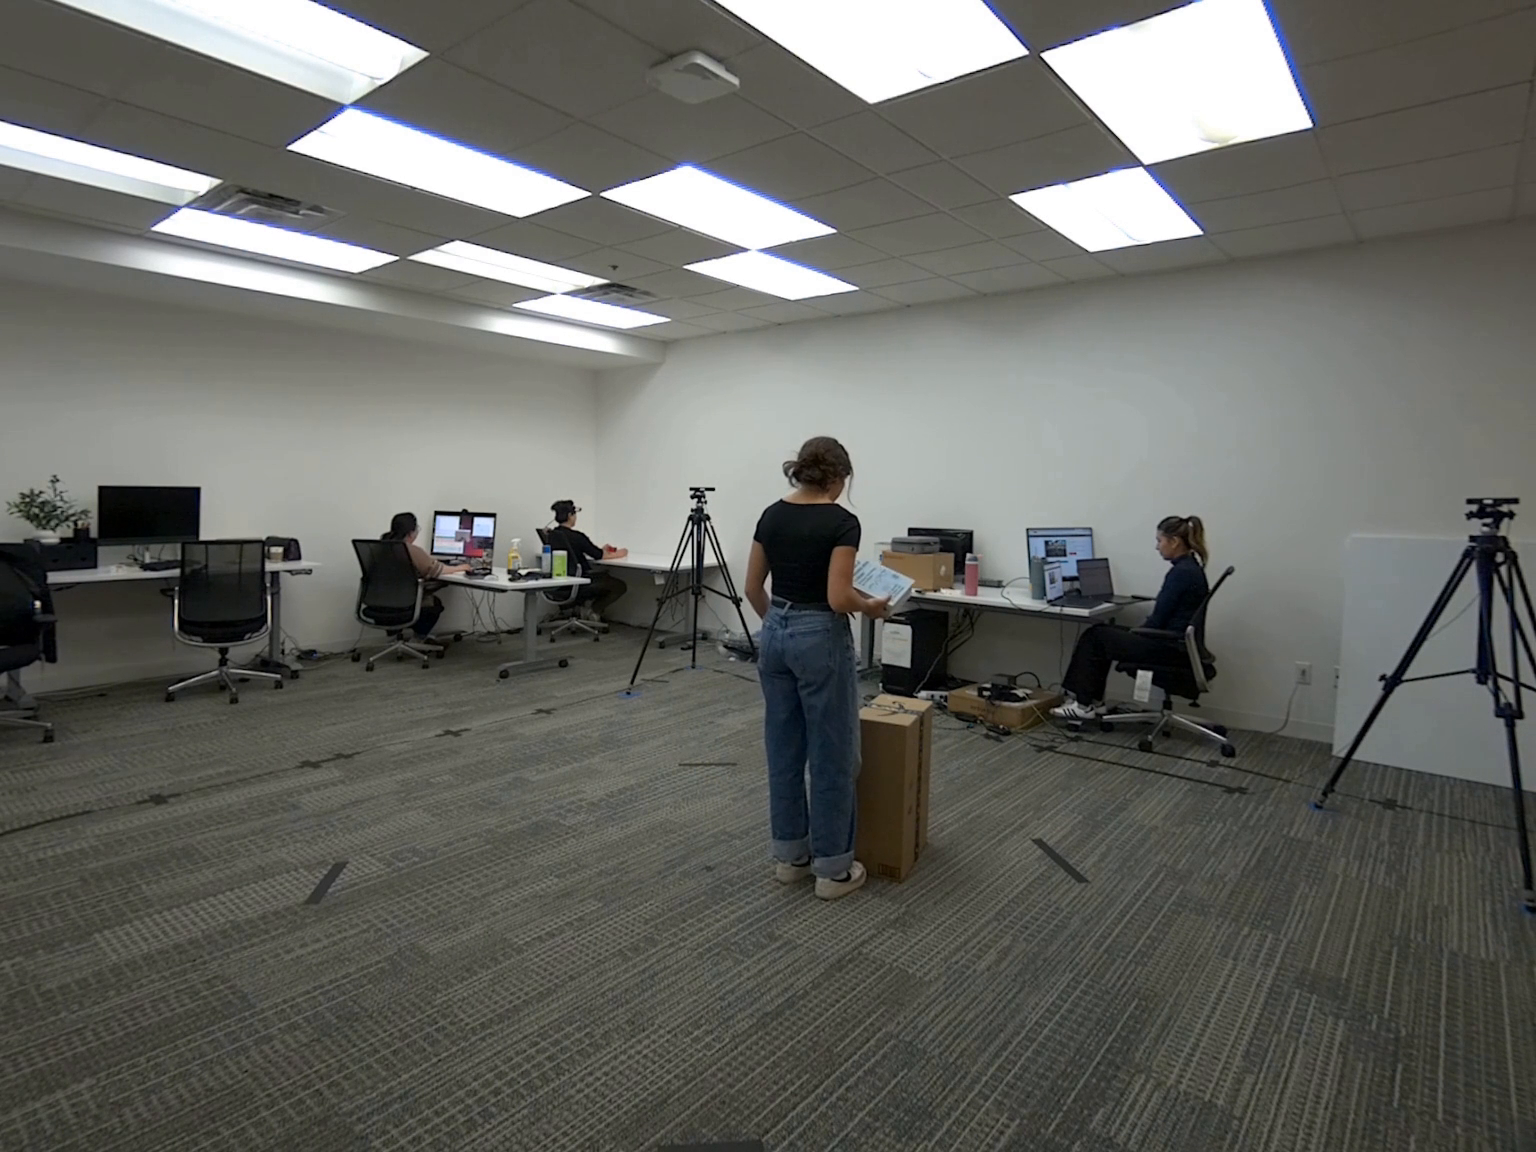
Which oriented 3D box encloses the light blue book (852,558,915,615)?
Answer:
[{"bbox_3d":[0.373,0.031,3.133,0.269,0.058,0.190,25,38,25],"label":"light blue book"}]
